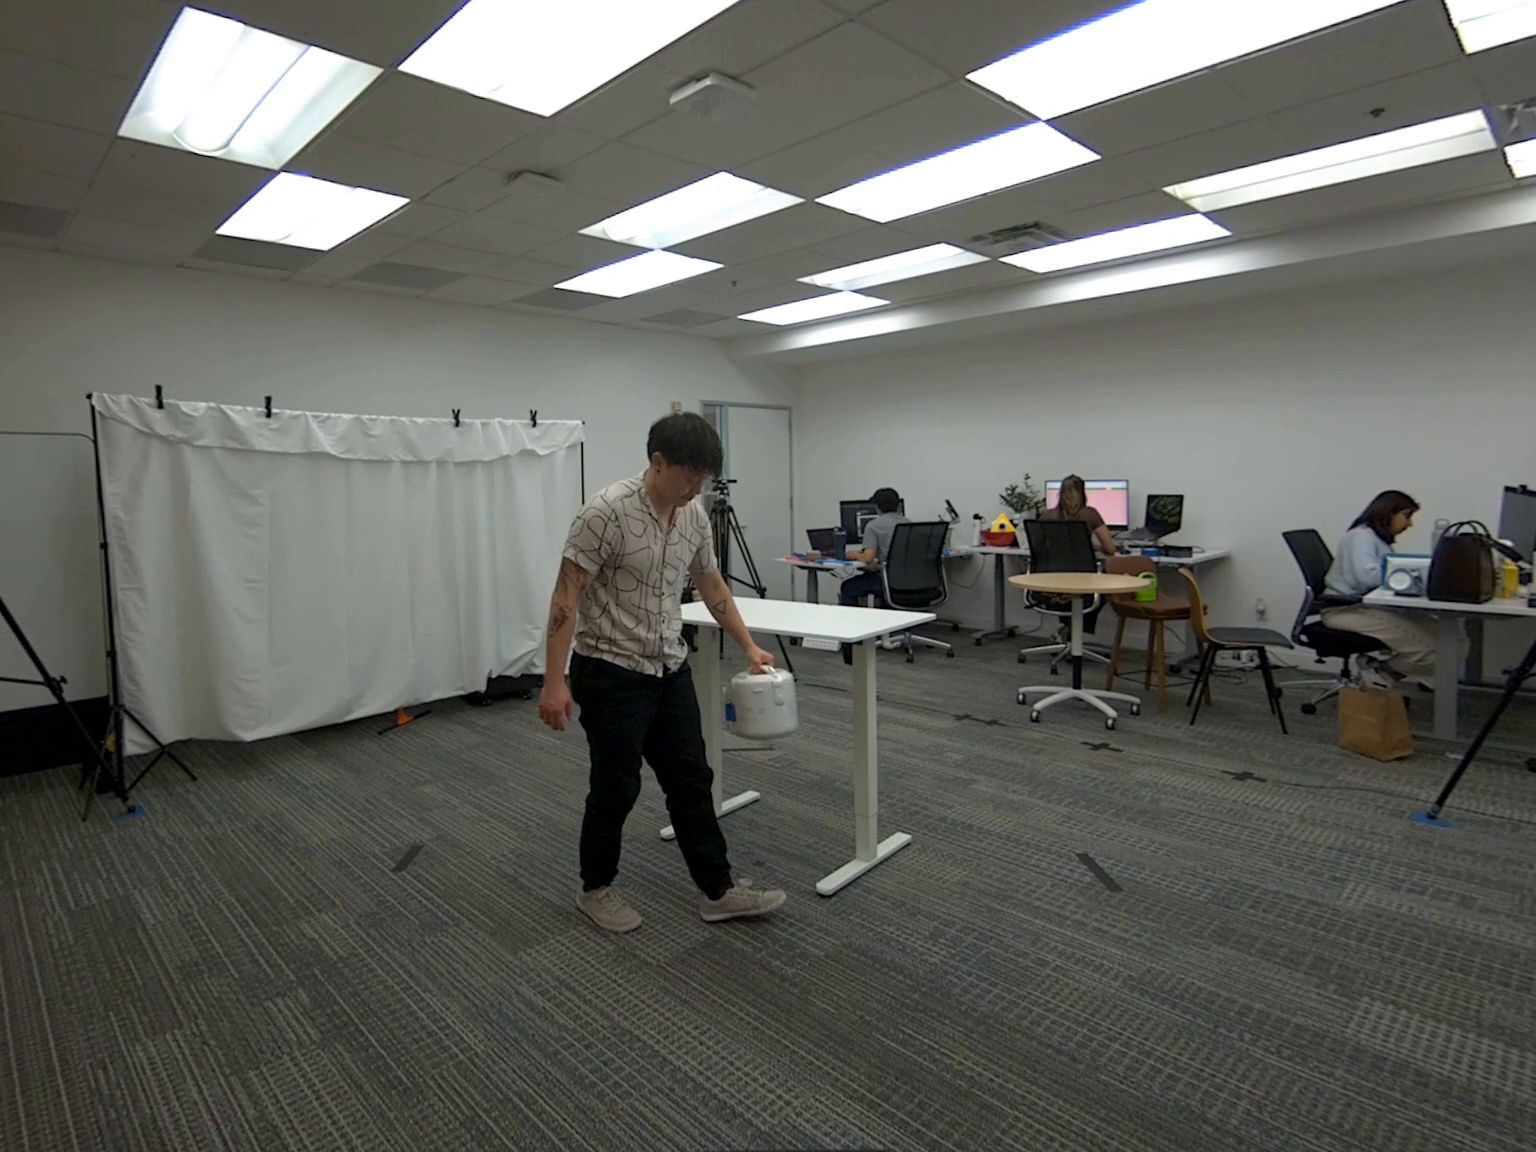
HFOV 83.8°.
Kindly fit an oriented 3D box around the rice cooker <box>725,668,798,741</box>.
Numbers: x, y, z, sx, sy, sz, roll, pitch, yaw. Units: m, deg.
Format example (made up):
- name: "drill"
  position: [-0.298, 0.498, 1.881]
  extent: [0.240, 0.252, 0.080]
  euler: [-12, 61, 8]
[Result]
- name: "rice cooker"
  position: [-0.014, 0.402, 2.790]
  extent: [0.212, 0.233, 0.225]
  euler: [-4, -2, -29]
